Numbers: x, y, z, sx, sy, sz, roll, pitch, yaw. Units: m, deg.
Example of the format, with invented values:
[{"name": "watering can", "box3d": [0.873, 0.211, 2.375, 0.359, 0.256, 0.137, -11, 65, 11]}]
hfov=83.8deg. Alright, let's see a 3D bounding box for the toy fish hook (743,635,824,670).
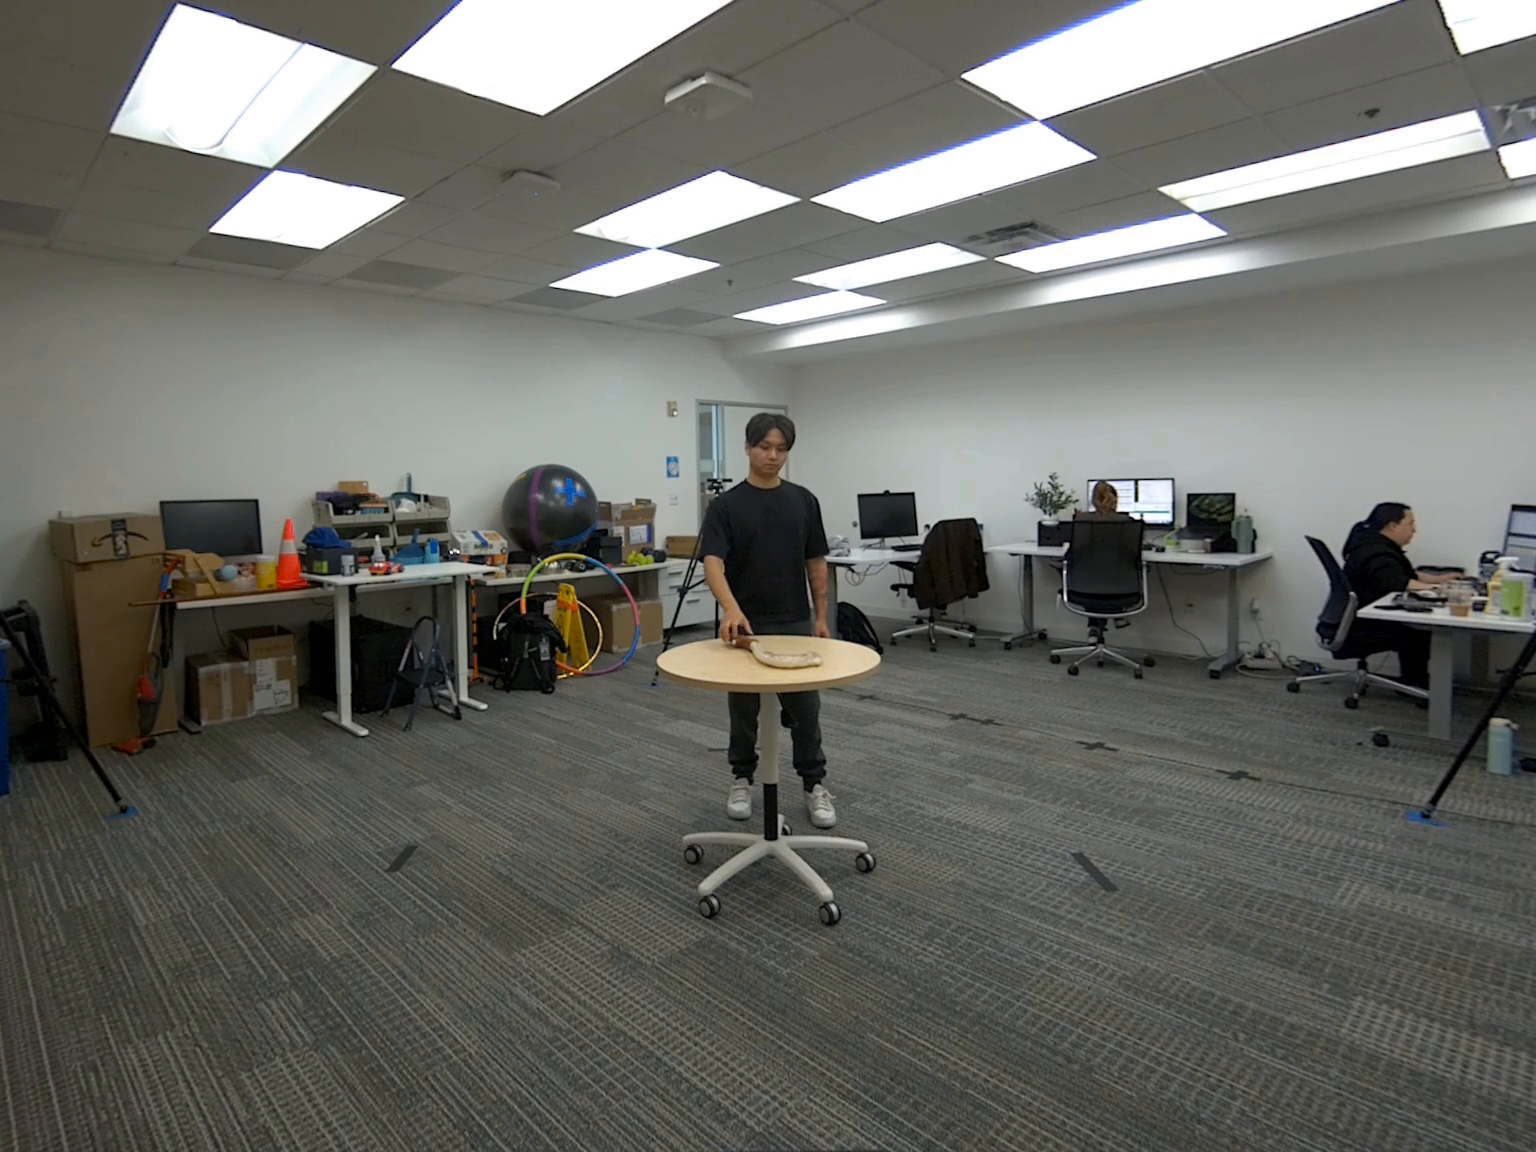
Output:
[{"name": "toy fish hook", "box3d": [0.019, 0.263, 2.996, 0.220, 0.048, 0.519, 2, 6, -23]}]
